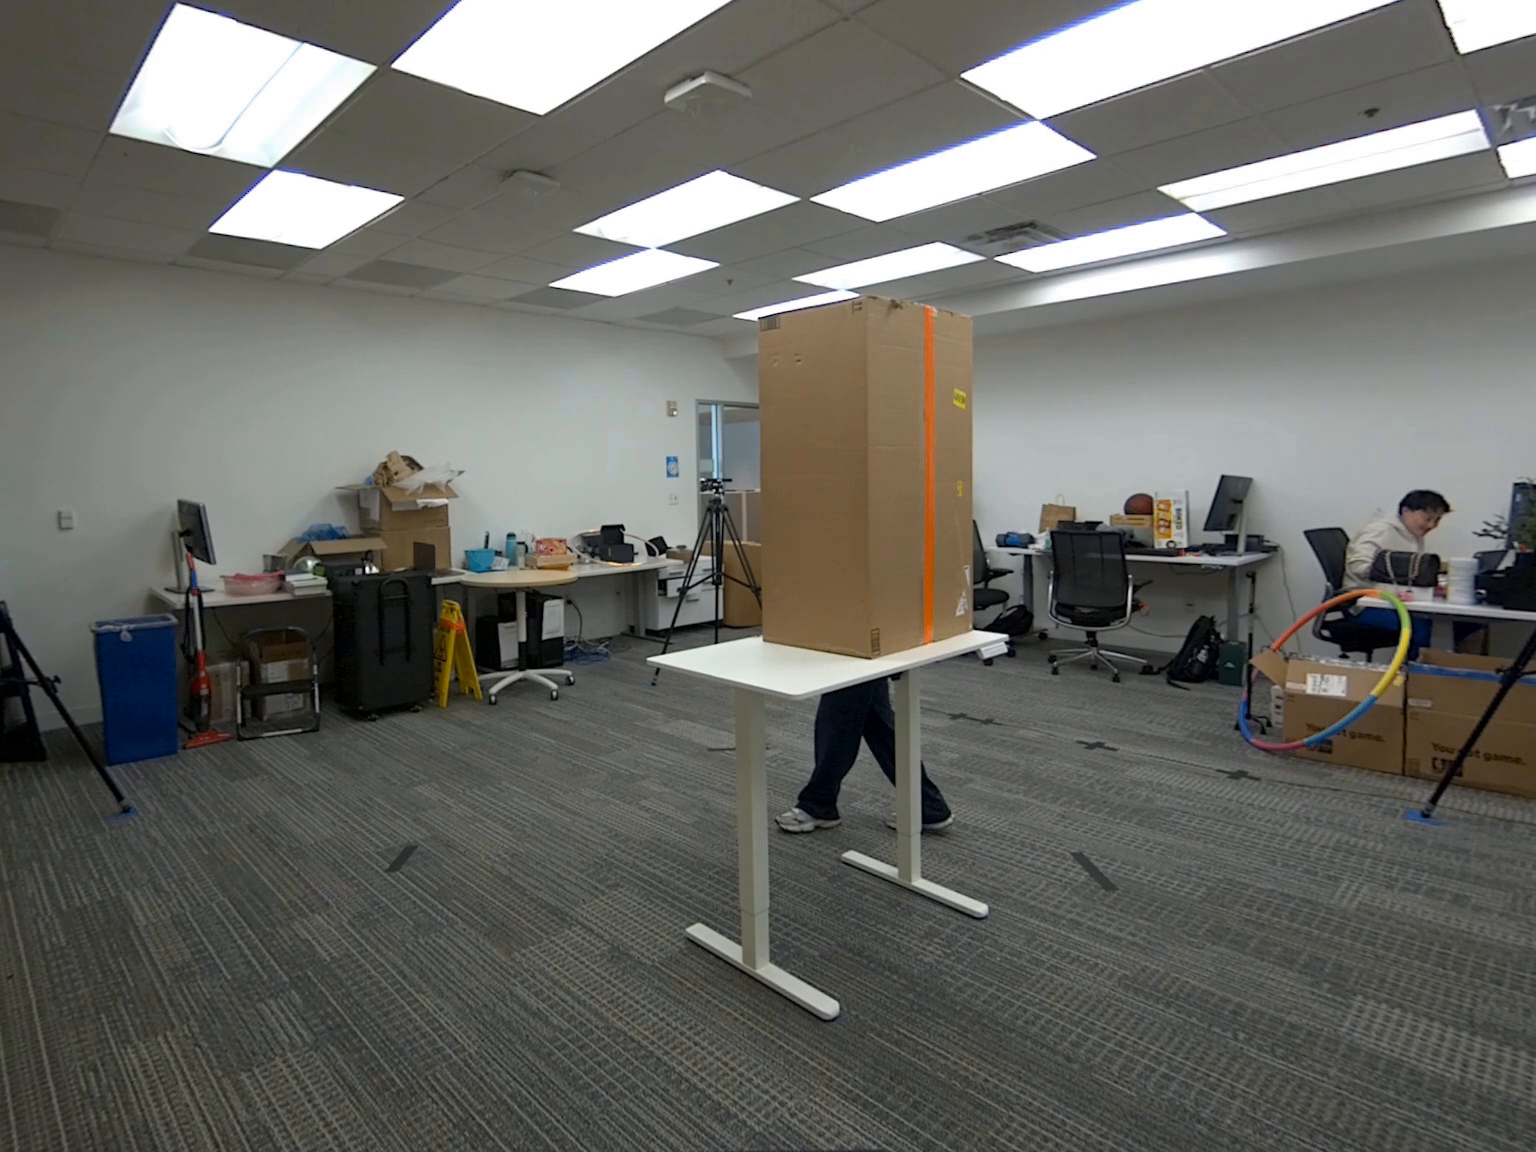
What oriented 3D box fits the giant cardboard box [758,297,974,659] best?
[{"bbox_3d":[0.322,-0.311,2.739,0.439,1.022,0.562,3,6,44],"label":"giant cardboard box"}]
